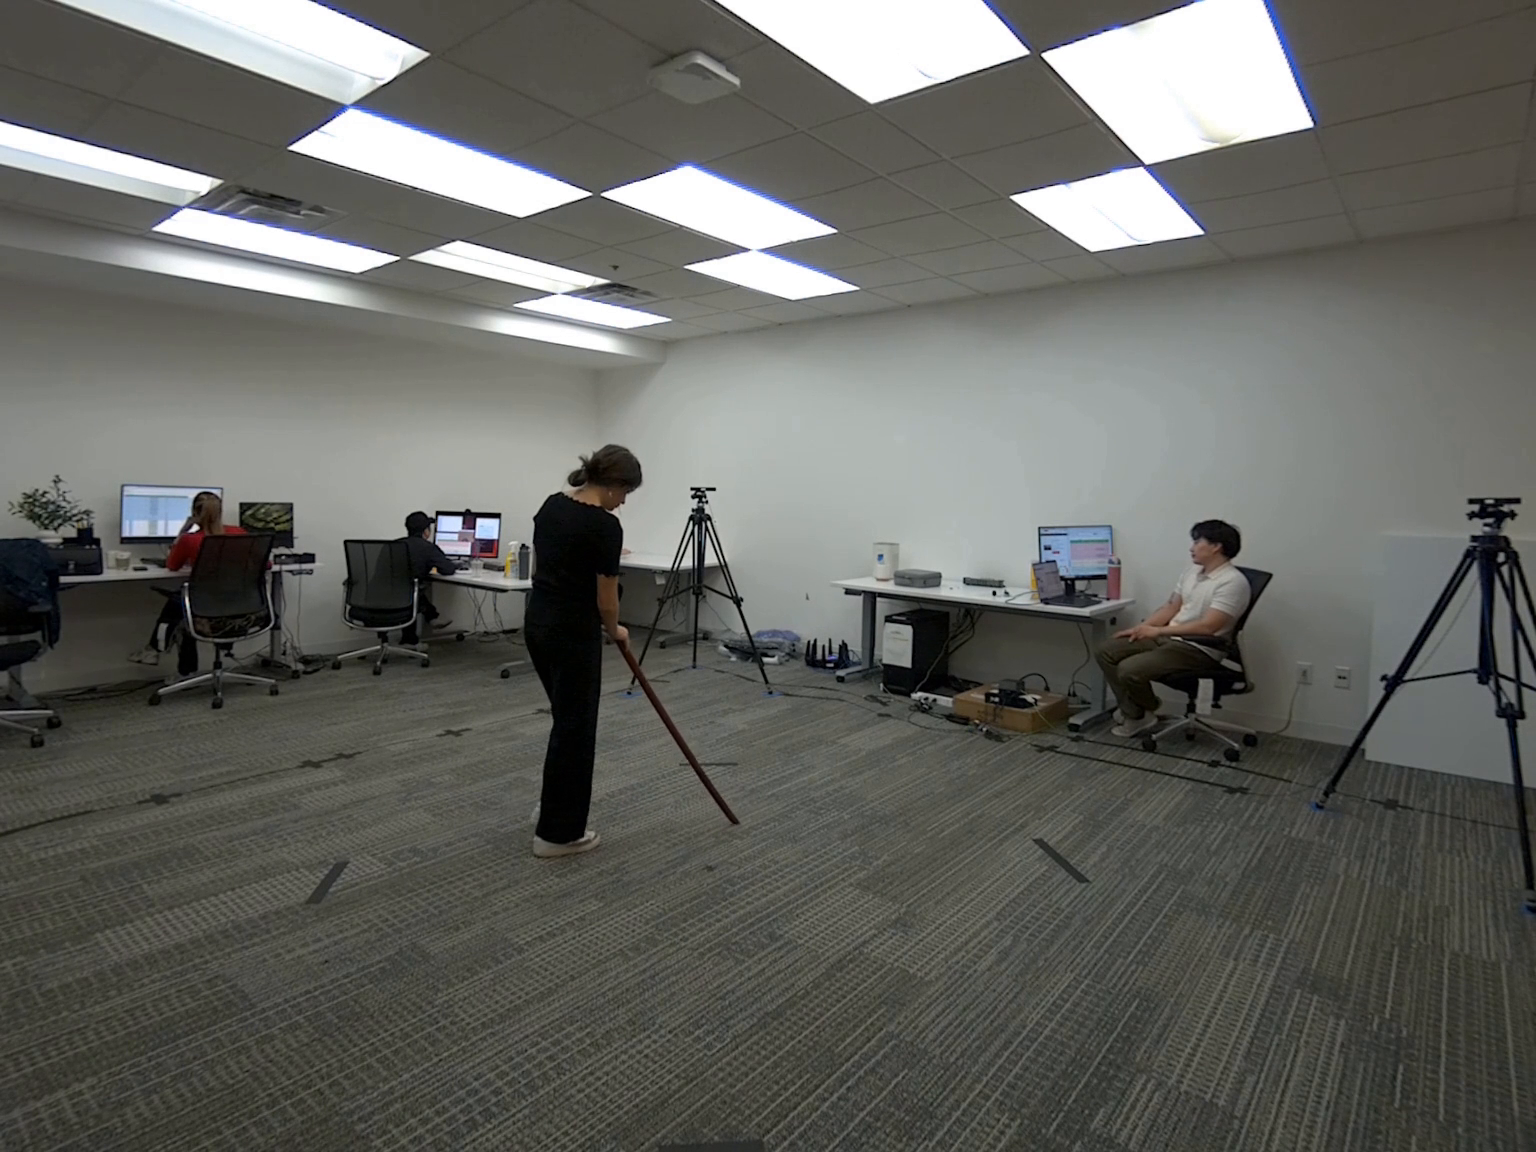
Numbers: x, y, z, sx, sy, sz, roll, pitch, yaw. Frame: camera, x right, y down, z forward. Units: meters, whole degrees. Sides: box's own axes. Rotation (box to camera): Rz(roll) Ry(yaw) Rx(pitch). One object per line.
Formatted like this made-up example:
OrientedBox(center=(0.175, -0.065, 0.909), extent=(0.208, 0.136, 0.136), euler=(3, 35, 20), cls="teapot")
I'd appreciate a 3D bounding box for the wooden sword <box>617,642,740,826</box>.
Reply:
OrientedBox(center=(-0.399, 0.618, 3.475), extent=(0.024, 1.013, 0.051), euler=(-30, 8, 13), cls="wooden sword")
